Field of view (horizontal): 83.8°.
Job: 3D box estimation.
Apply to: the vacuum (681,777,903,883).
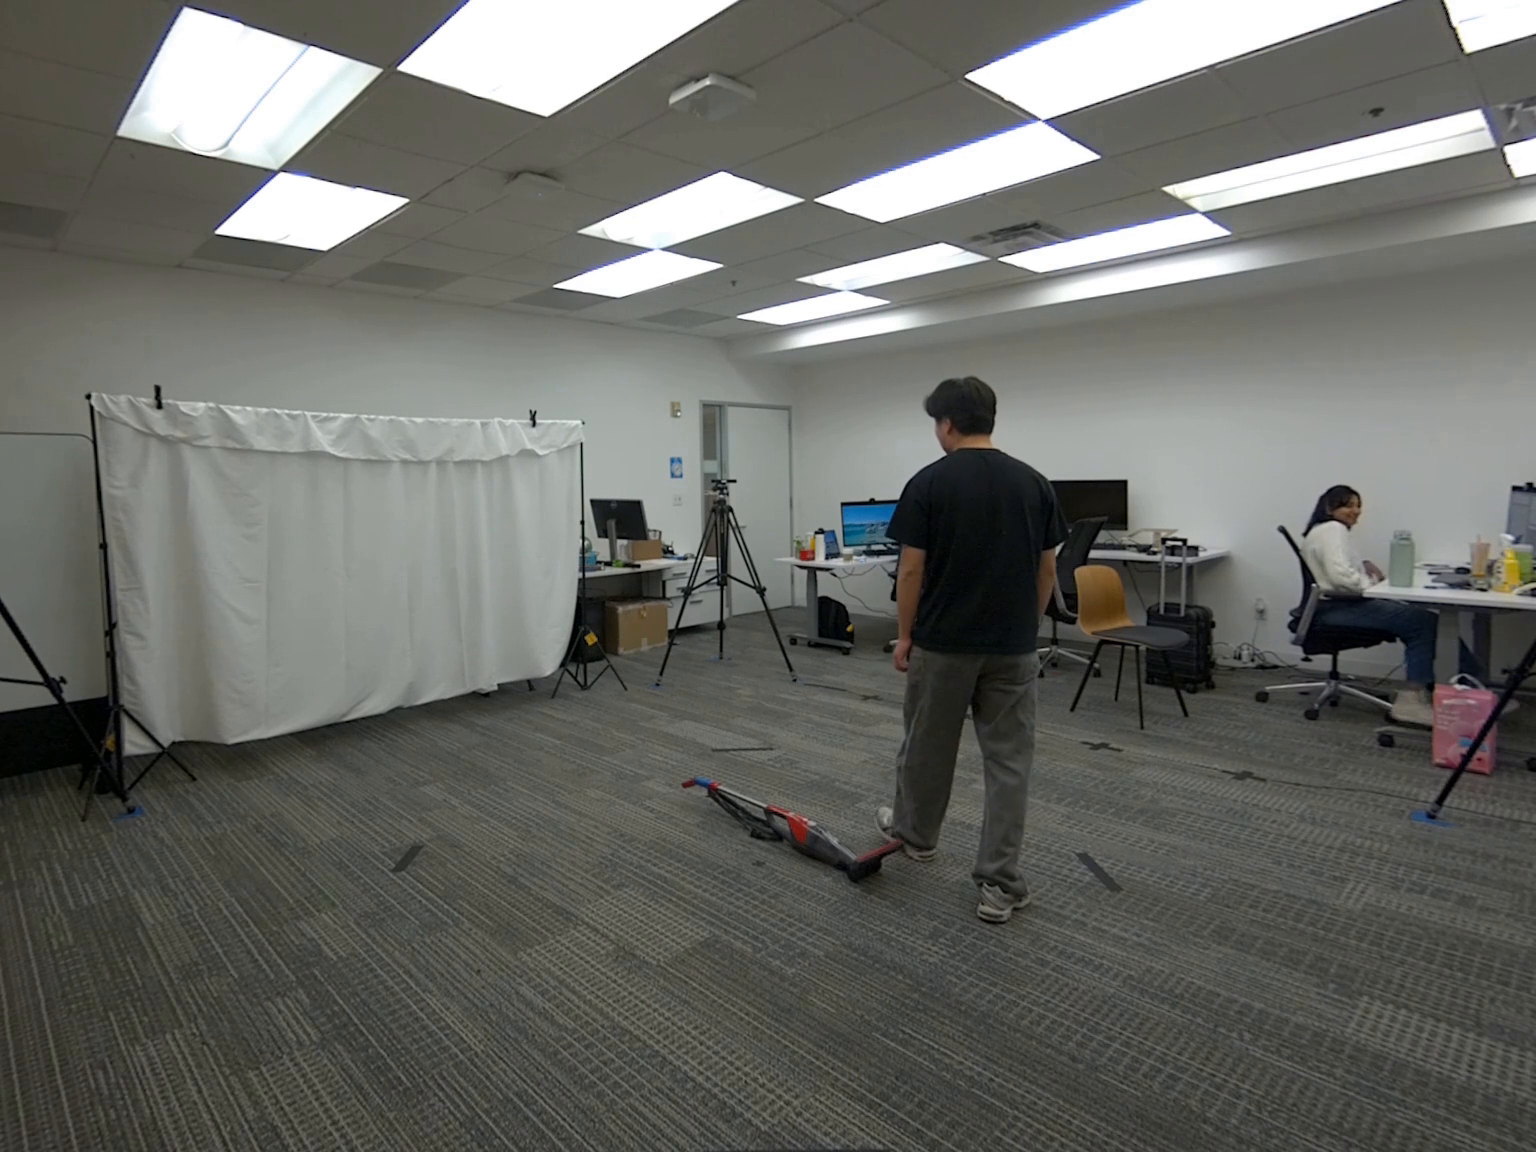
[{"bbox_3d":[-0.001,0.966,3.364,0.246,0.143,1.081,-5,6,-42],"label":"vacuum"}]
